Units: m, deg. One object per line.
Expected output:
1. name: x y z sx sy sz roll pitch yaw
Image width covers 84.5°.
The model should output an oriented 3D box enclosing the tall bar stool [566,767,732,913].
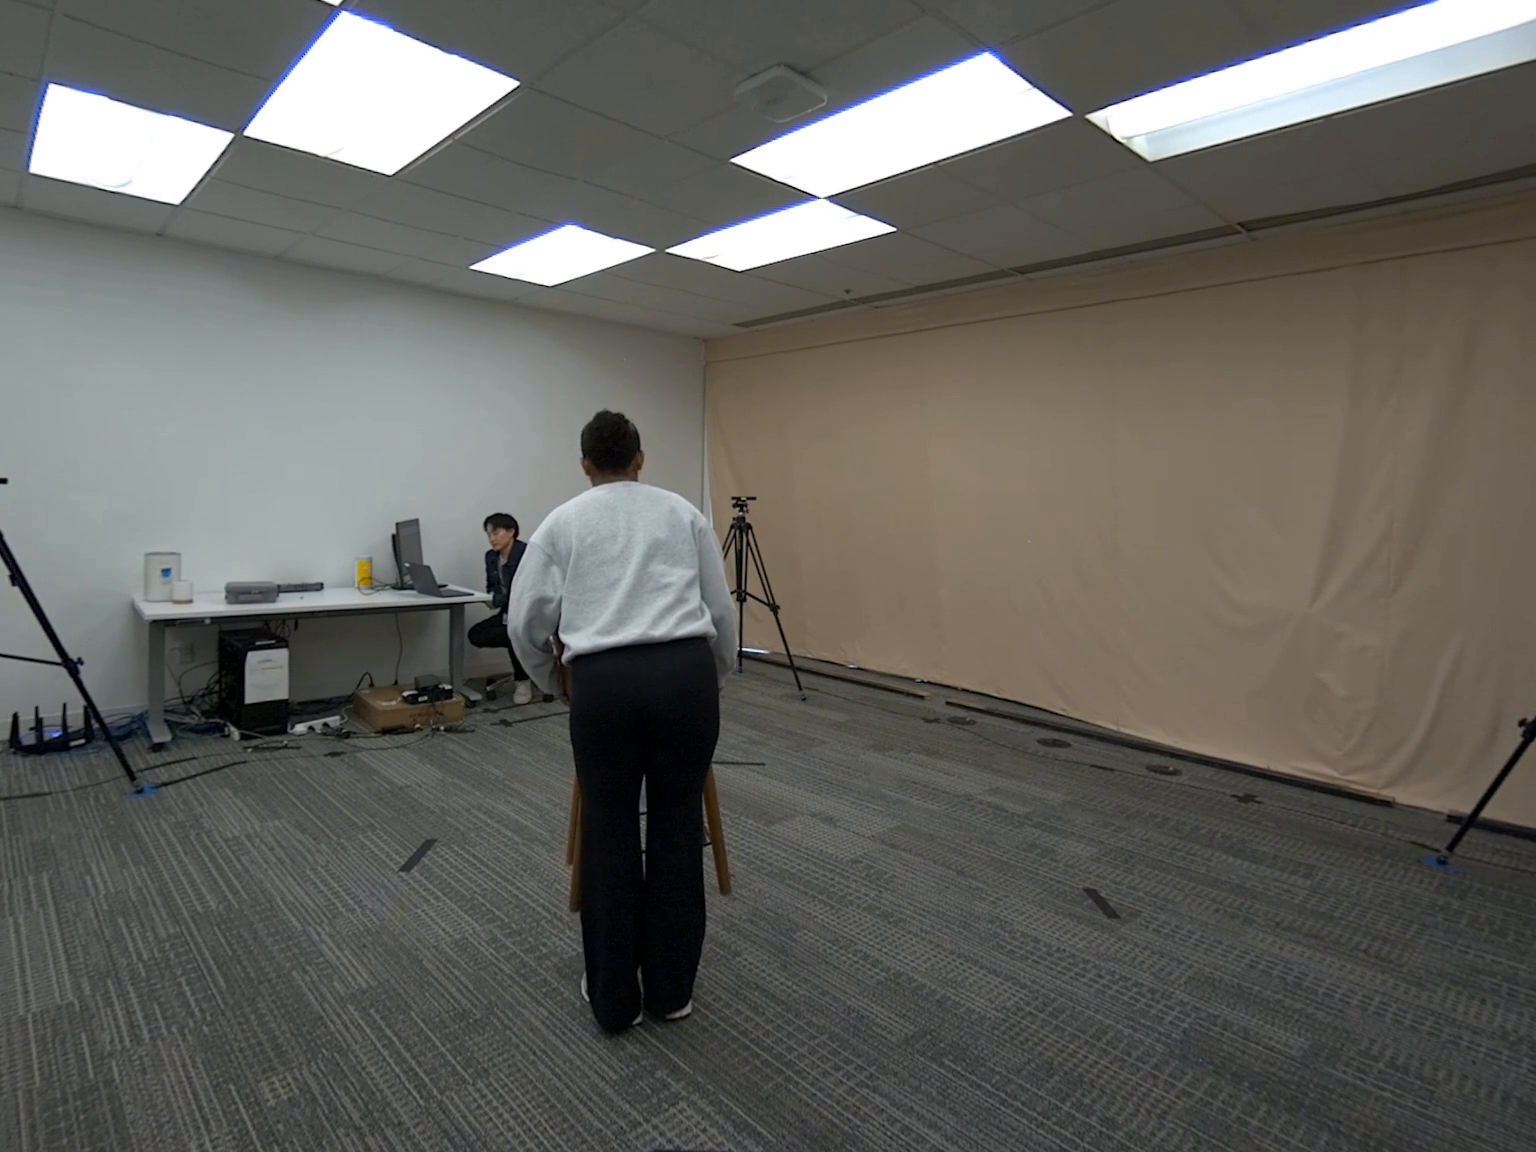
1. tall bar stool: -0.395 0.479 2.515 0.463 0.889 0.461 -3 1 -13
